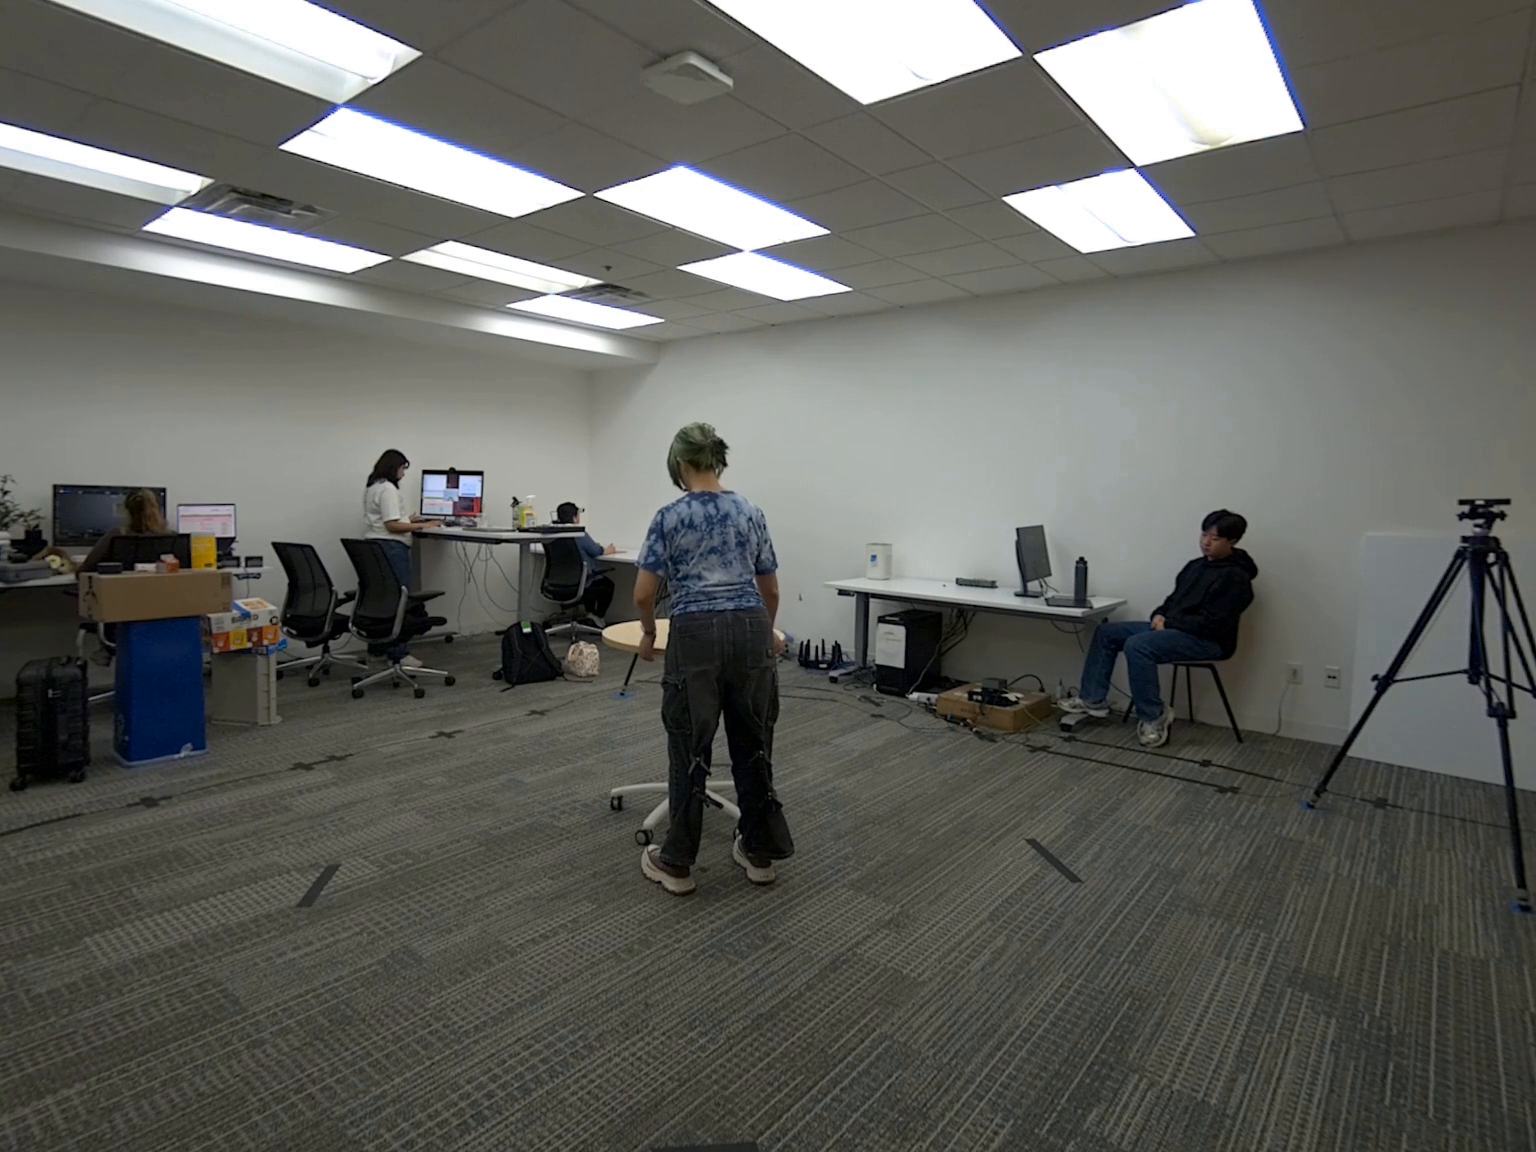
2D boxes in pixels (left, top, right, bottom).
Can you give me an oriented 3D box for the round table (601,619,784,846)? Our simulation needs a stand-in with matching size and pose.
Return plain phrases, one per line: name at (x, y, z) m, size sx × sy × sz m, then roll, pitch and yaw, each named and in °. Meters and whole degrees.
round table at (-0.332, 0.628, 3.594) m, size 0.763 × 0.791 × 0.768 m, roll 1°, pitch 4°, yaw -2°
